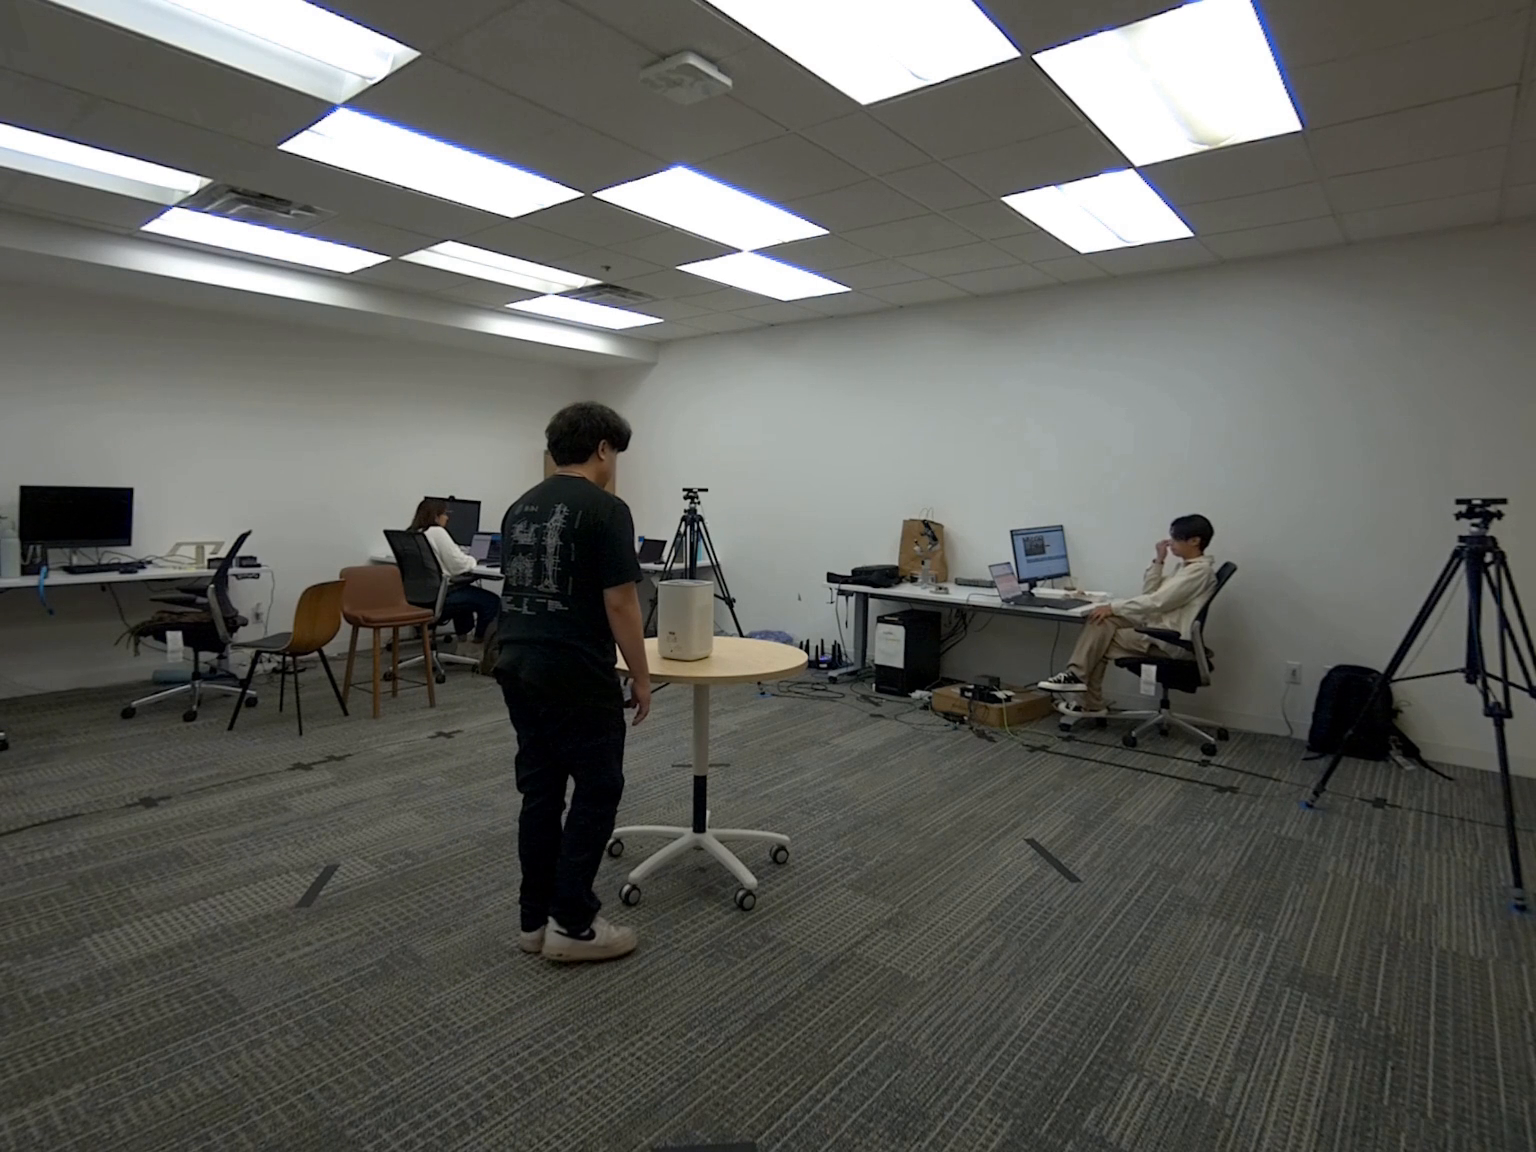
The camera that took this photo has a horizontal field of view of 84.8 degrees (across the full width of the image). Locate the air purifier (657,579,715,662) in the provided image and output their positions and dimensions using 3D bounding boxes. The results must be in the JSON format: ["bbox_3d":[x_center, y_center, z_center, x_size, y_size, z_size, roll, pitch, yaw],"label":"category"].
[{"bbox_3d":[-0.300,0.149,3.004,0.176,0.264,0.167,3,4,27],"label":"air purifier"}]
